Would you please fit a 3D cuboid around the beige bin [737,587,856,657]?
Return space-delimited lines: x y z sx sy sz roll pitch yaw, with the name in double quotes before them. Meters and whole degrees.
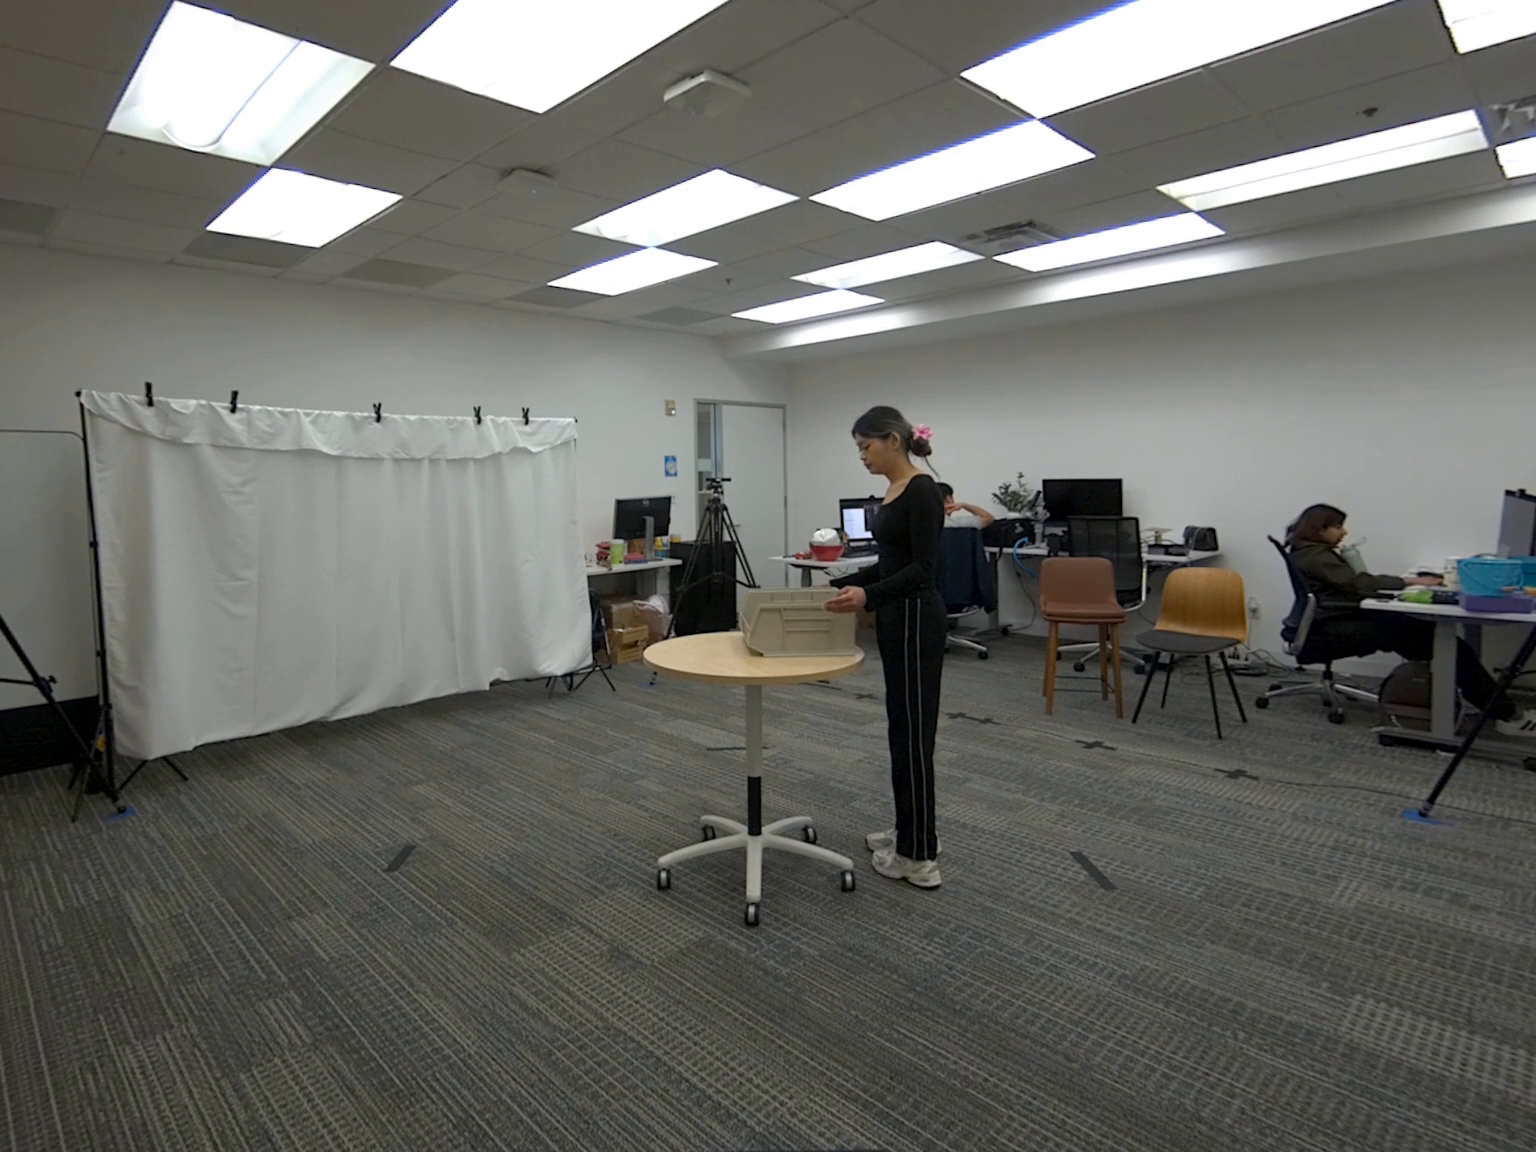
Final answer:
"beige bin" 0.099 0.162 3.084 0.376 0.188 0.425 0 5 -5
